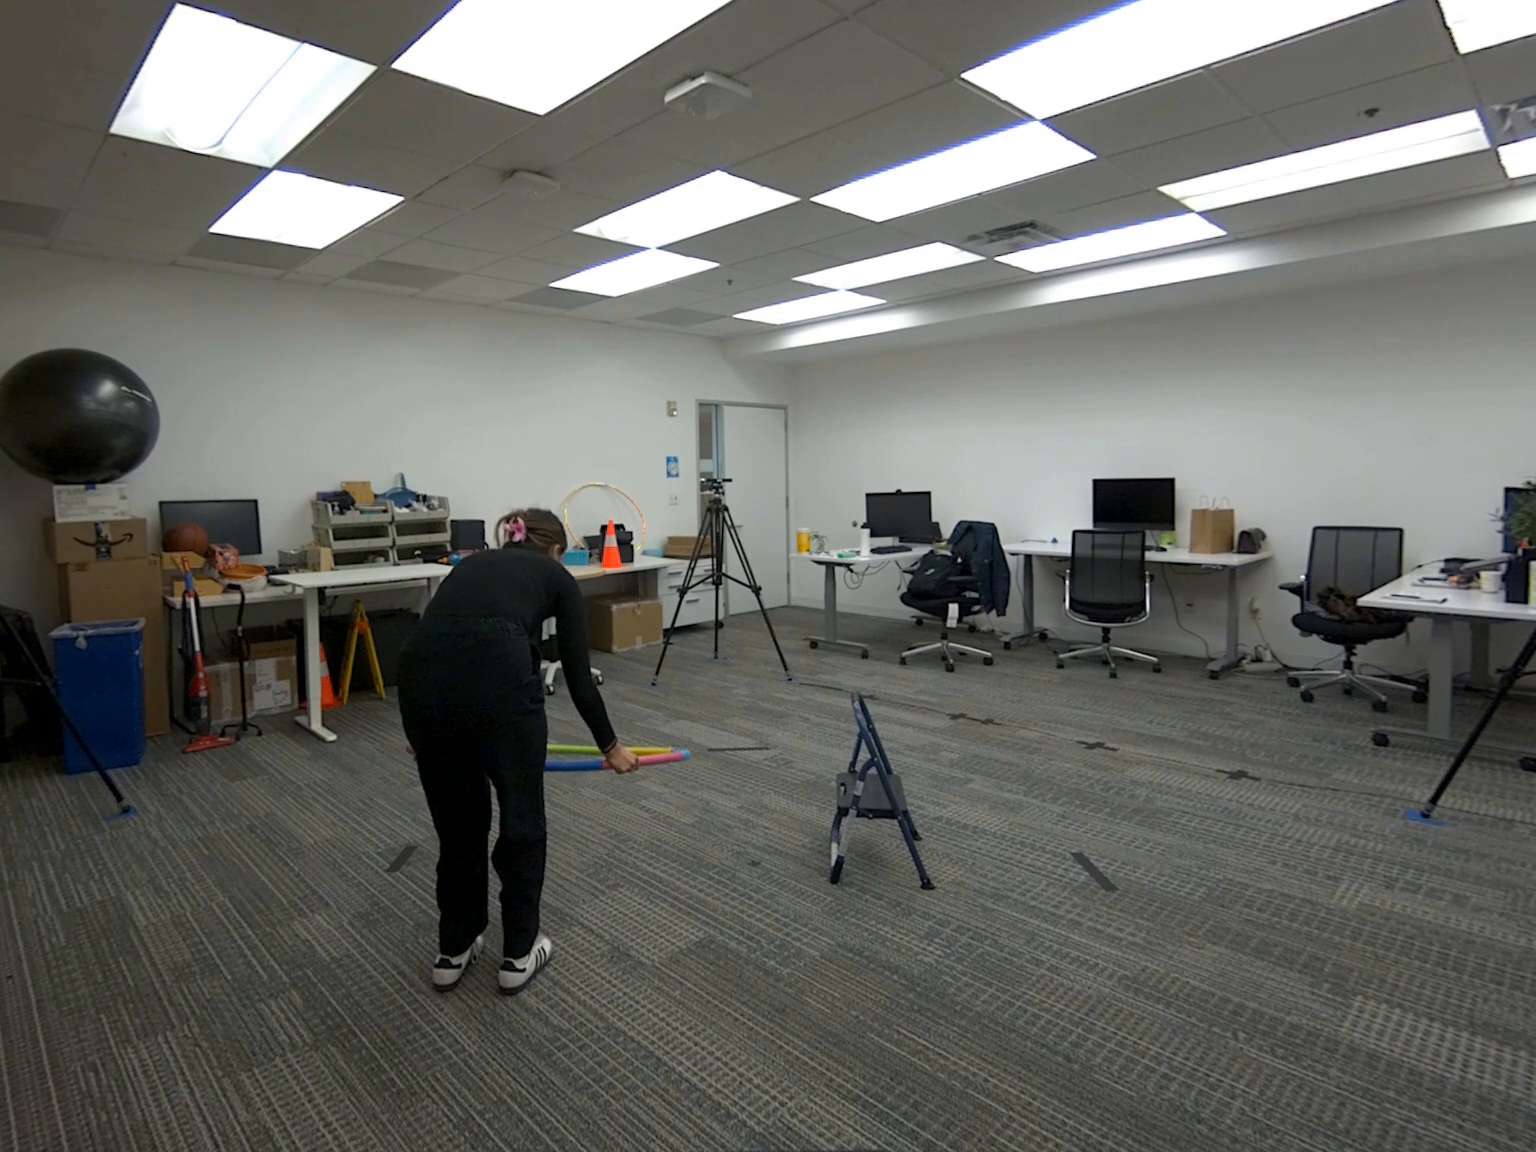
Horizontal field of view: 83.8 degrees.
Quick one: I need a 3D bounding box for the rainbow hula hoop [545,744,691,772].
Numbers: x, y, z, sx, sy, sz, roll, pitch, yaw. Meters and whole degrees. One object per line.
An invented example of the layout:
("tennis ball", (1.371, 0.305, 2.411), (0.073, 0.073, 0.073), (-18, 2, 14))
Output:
("rainbow hula hoop", (-0.762, 0.619, 3.046), (0.978, 0.036, 0.970), (2, -9, -1))
